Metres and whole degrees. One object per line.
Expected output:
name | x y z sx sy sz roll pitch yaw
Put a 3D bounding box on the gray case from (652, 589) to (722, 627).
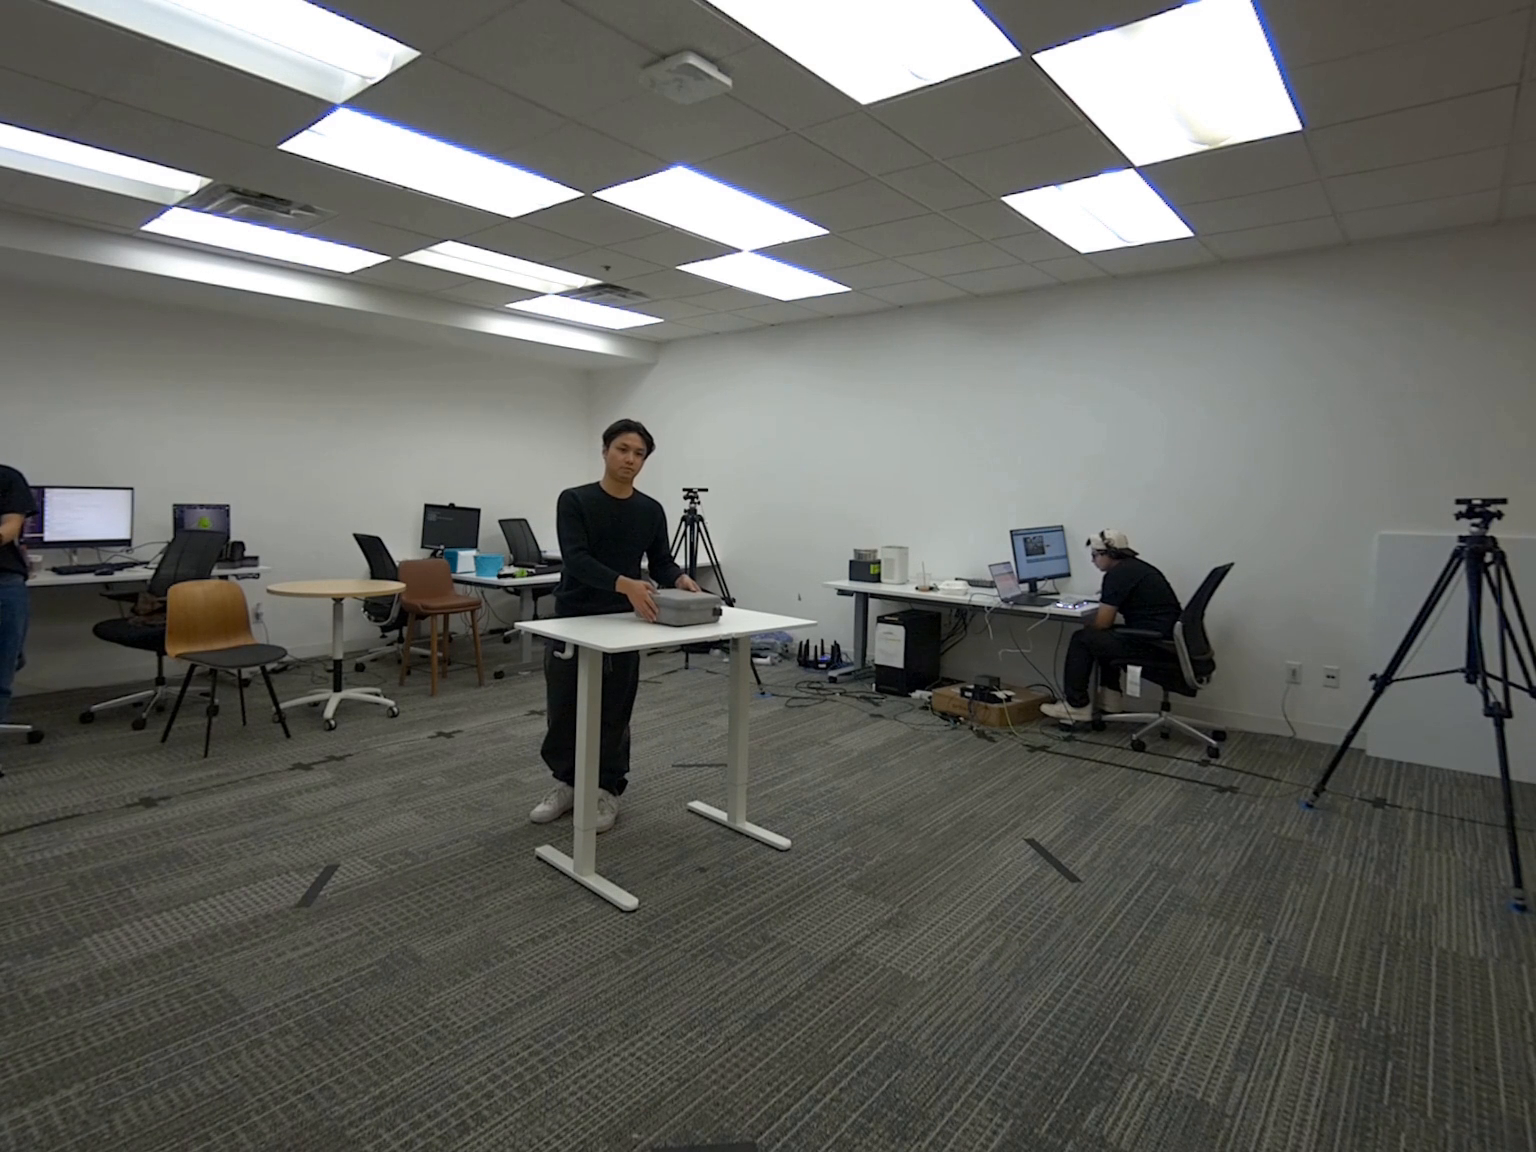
gray case | -0.346 0.115 3.246 0.270 0.104 0.249 8 8 41
